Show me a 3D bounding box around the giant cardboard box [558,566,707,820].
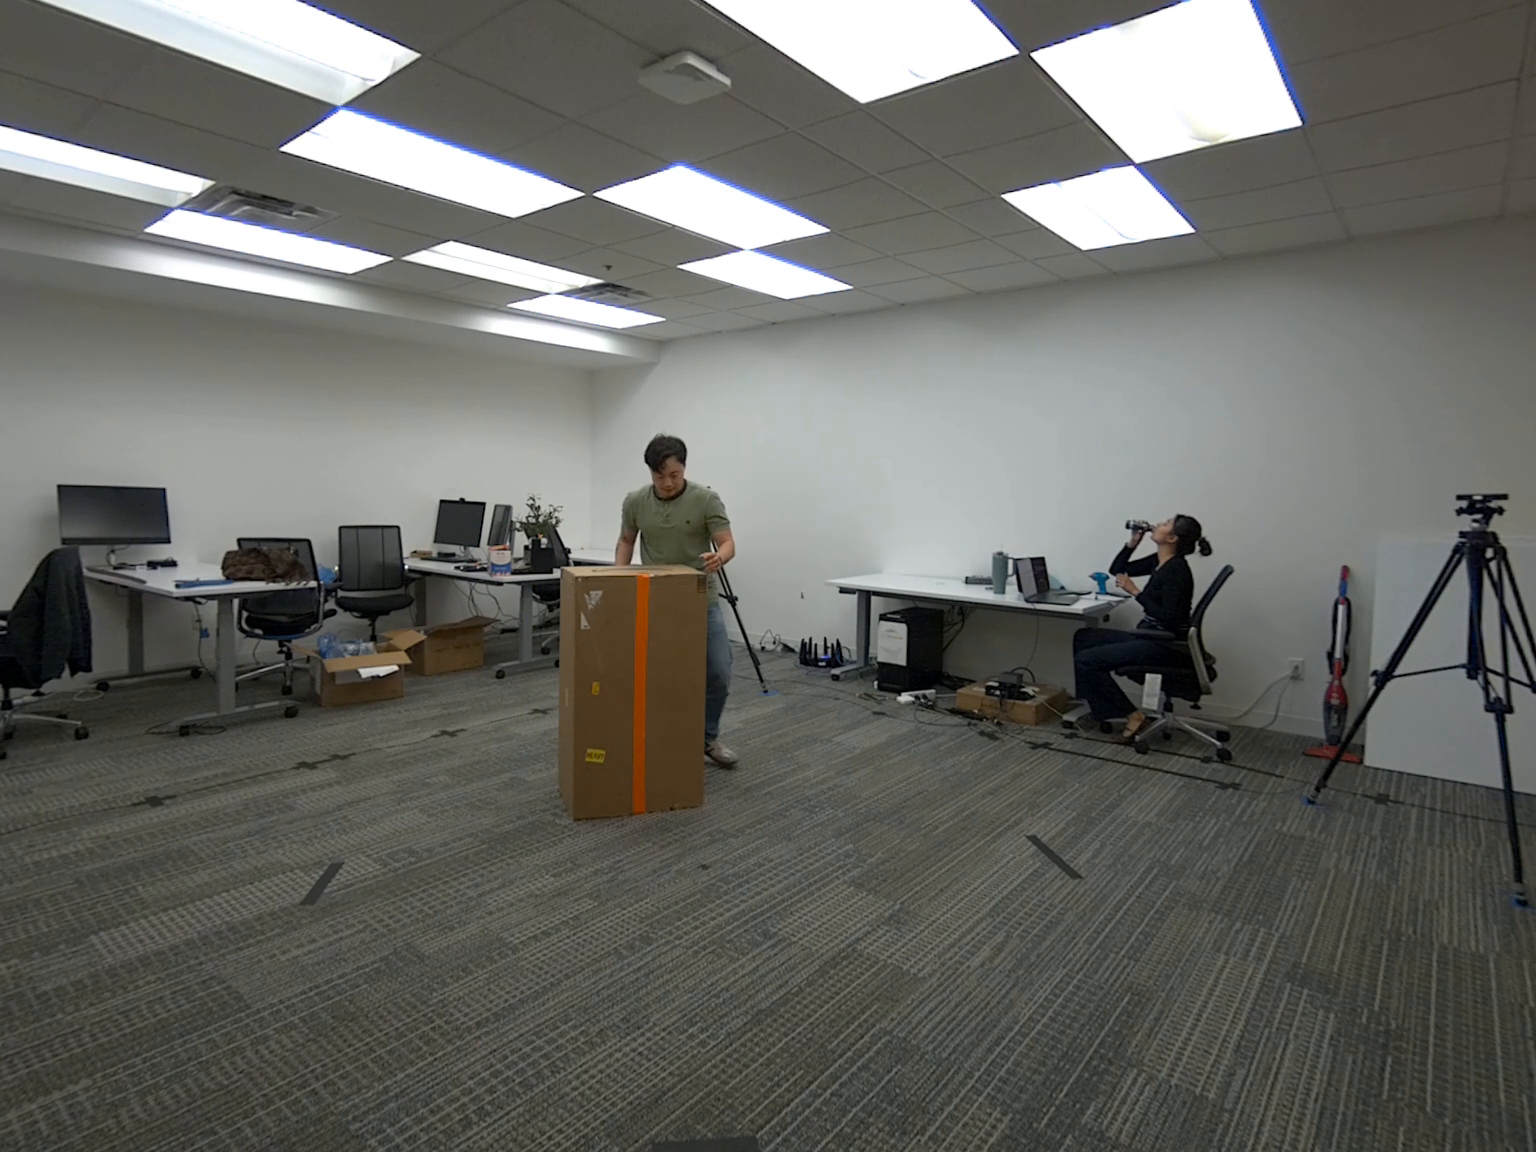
[{"bbox_3d":[-0.630,0.480,3.790,0.566,1.023,0.436,0,3,-20],"label":"giant cardboard box"}]
